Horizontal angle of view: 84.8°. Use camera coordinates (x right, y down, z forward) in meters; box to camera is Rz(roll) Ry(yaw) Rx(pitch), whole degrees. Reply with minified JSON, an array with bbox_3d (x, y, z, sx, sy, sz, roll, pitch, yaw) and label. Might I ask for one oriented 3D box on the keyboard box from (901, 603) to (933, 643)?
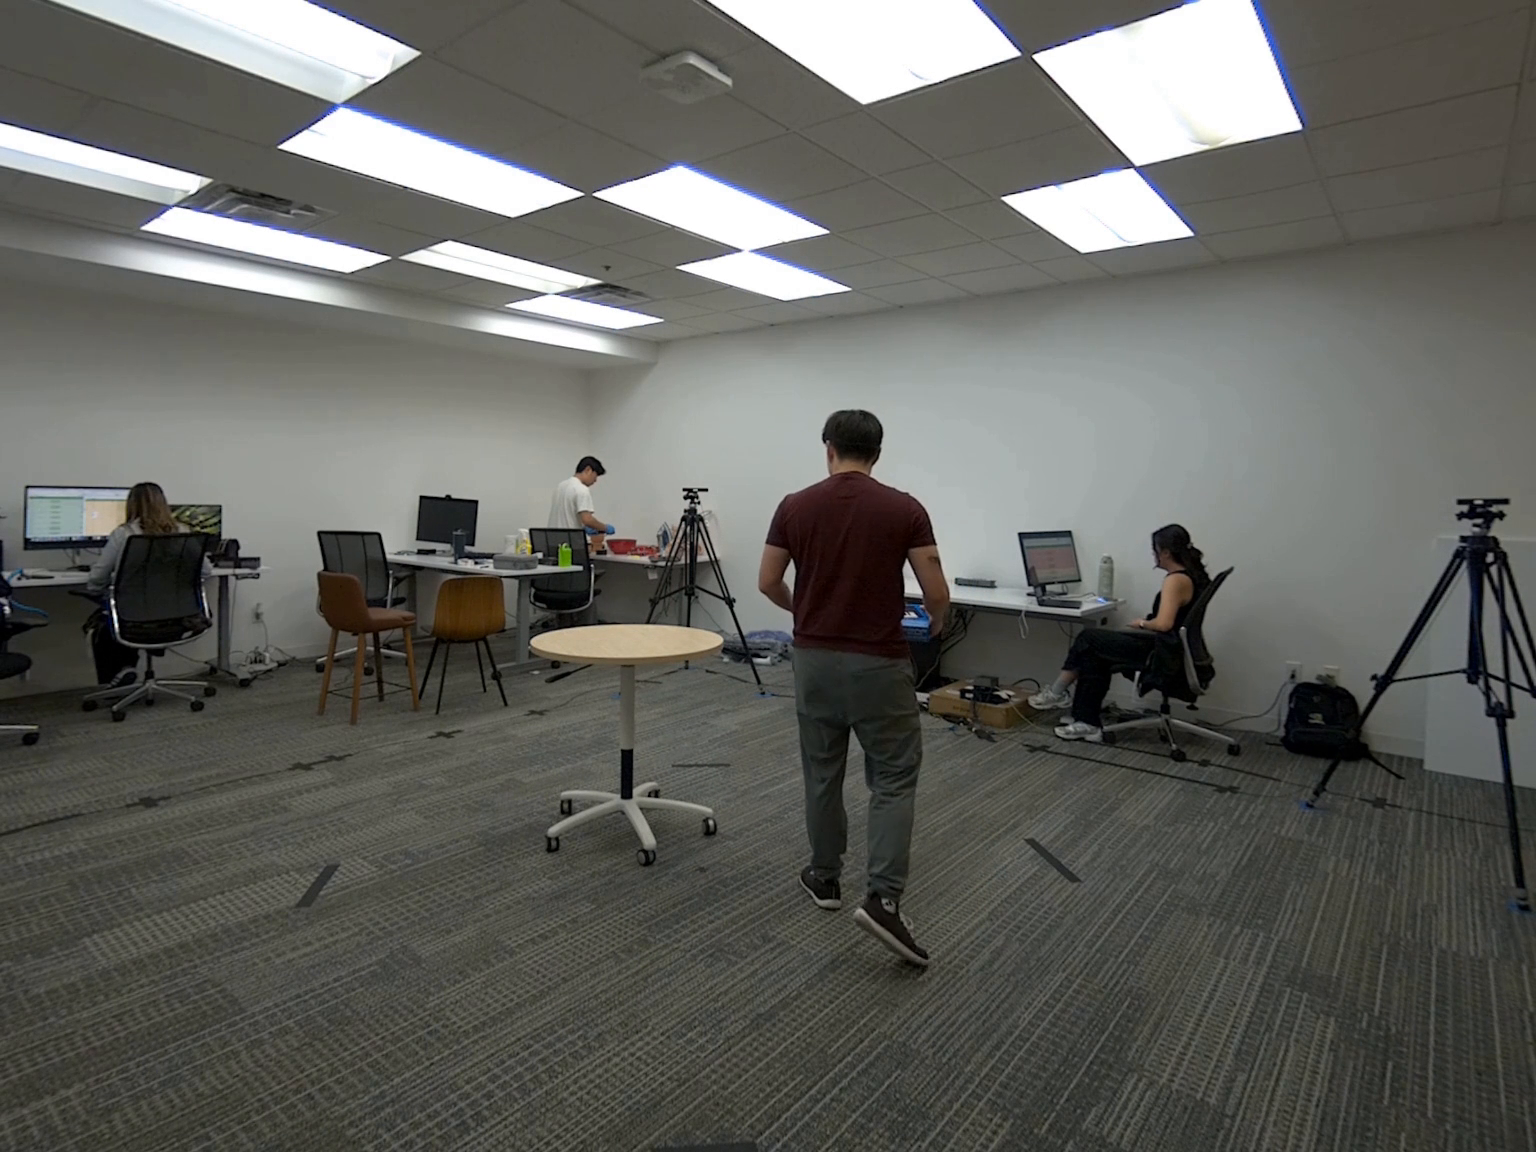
[{"bbox_3d":[0.345,0.153,3.011,0.446,0.058,0.176,3,24,20],"label":"keyboard box"}]
